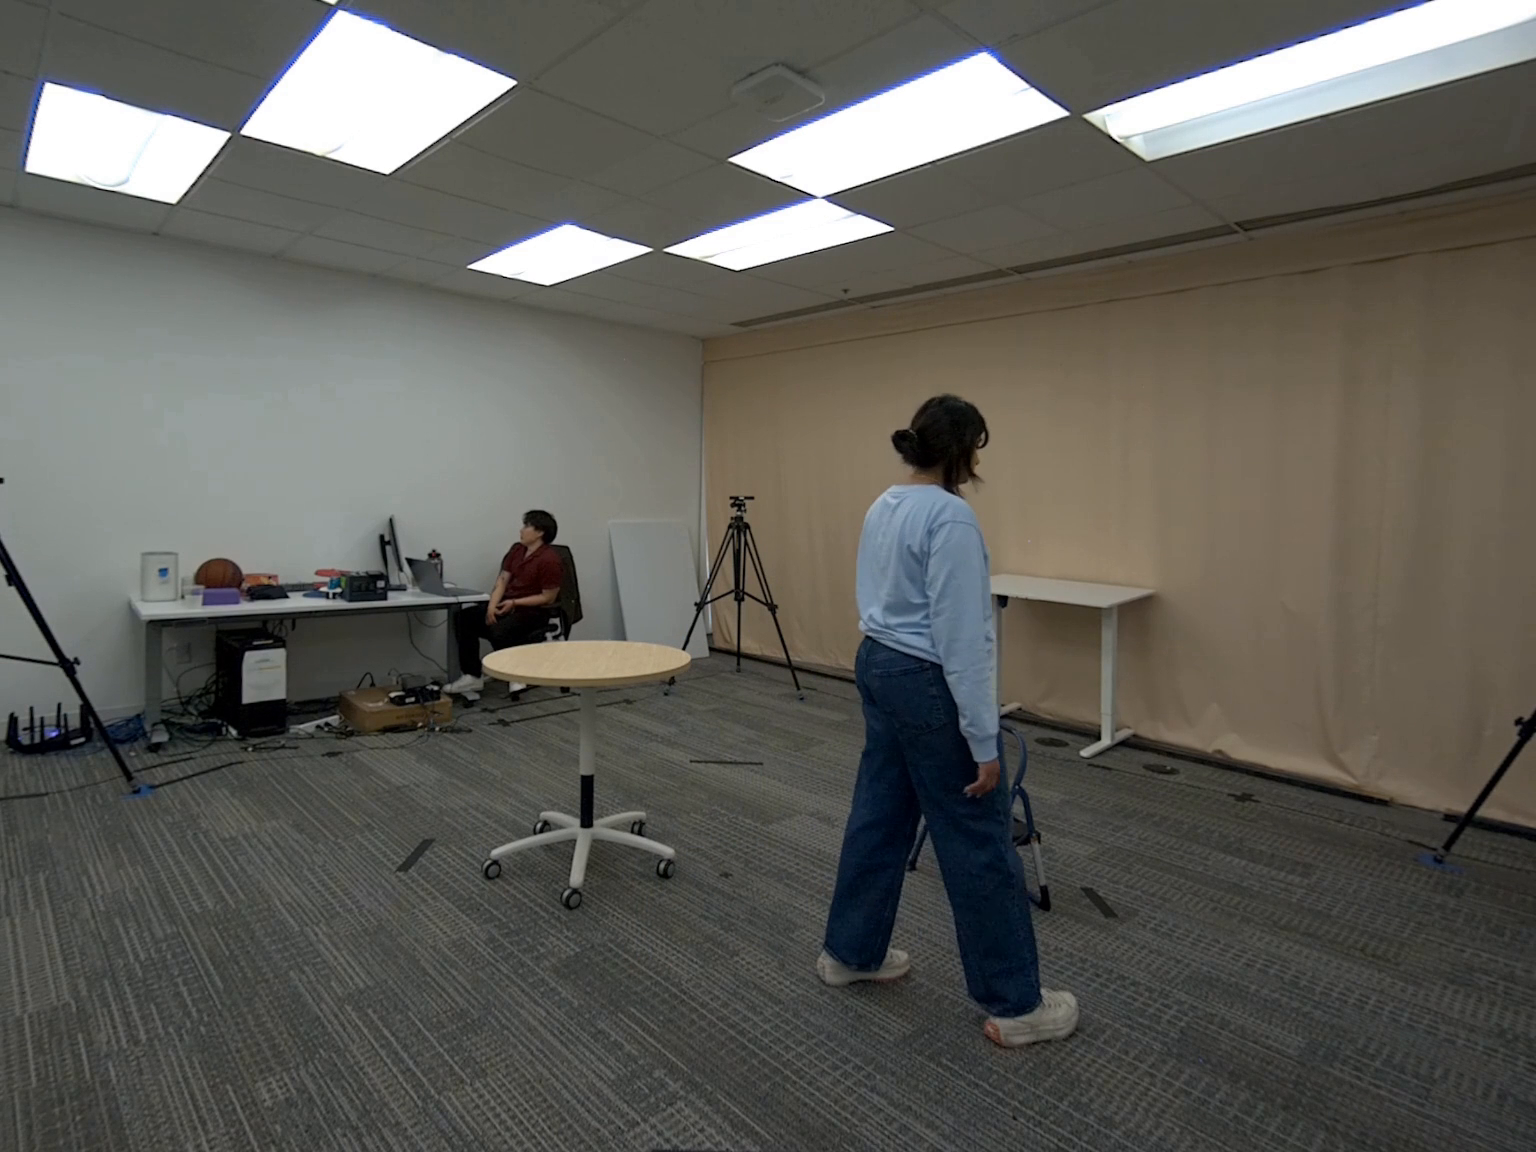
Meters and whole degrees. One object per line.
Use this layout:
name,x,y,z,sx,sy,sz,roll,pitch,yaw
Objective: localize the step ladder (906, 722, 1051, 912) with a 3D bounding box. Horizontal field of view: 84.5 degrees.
step ladder,0.755,0.838,3.030,0.344,0.604,0.438,1,5,-18
